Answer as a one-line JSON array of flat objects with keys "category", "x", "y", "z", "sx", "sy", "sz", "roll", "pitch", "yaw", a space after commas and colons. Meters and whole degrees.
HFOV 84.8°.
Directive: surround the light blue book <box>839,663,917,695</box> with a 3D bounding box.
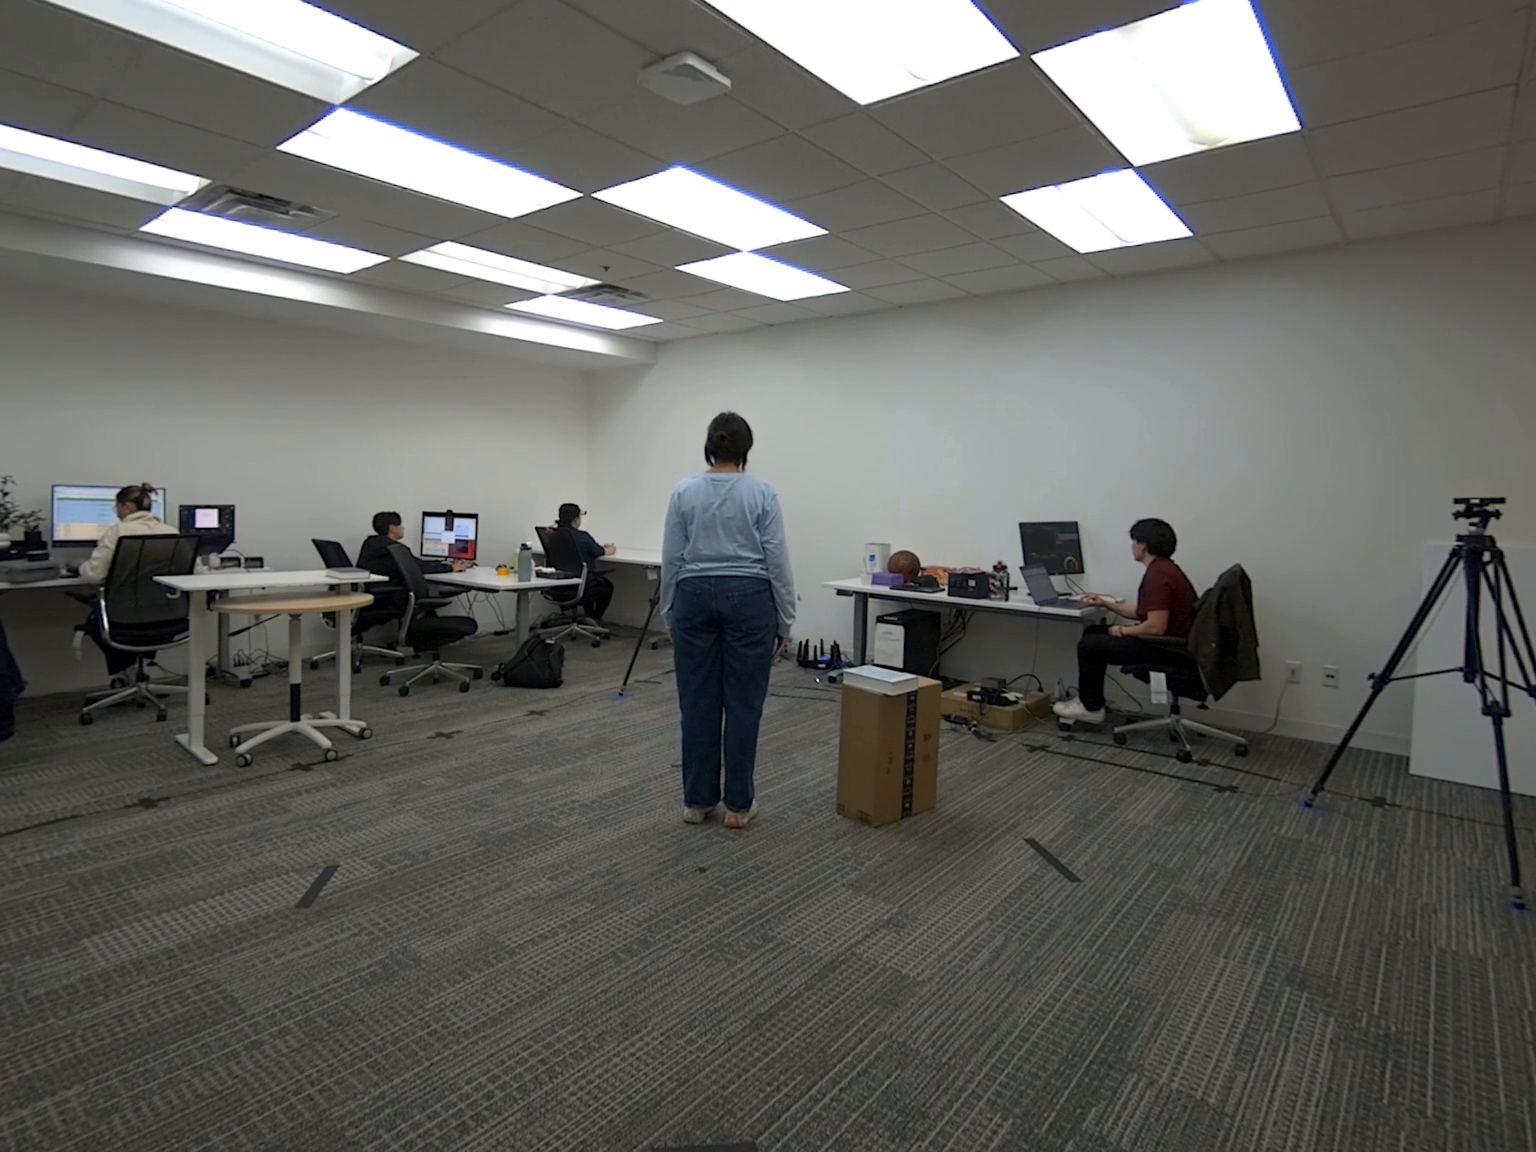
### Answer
[{"category": "light blue book", "x": 0.471, "y": 0.438, "z": 3.623, "sx": 0.186, "sy": 0.059, "sz": 0.270, "roll": -5, "pitch": 9, "yaw": -44}]
